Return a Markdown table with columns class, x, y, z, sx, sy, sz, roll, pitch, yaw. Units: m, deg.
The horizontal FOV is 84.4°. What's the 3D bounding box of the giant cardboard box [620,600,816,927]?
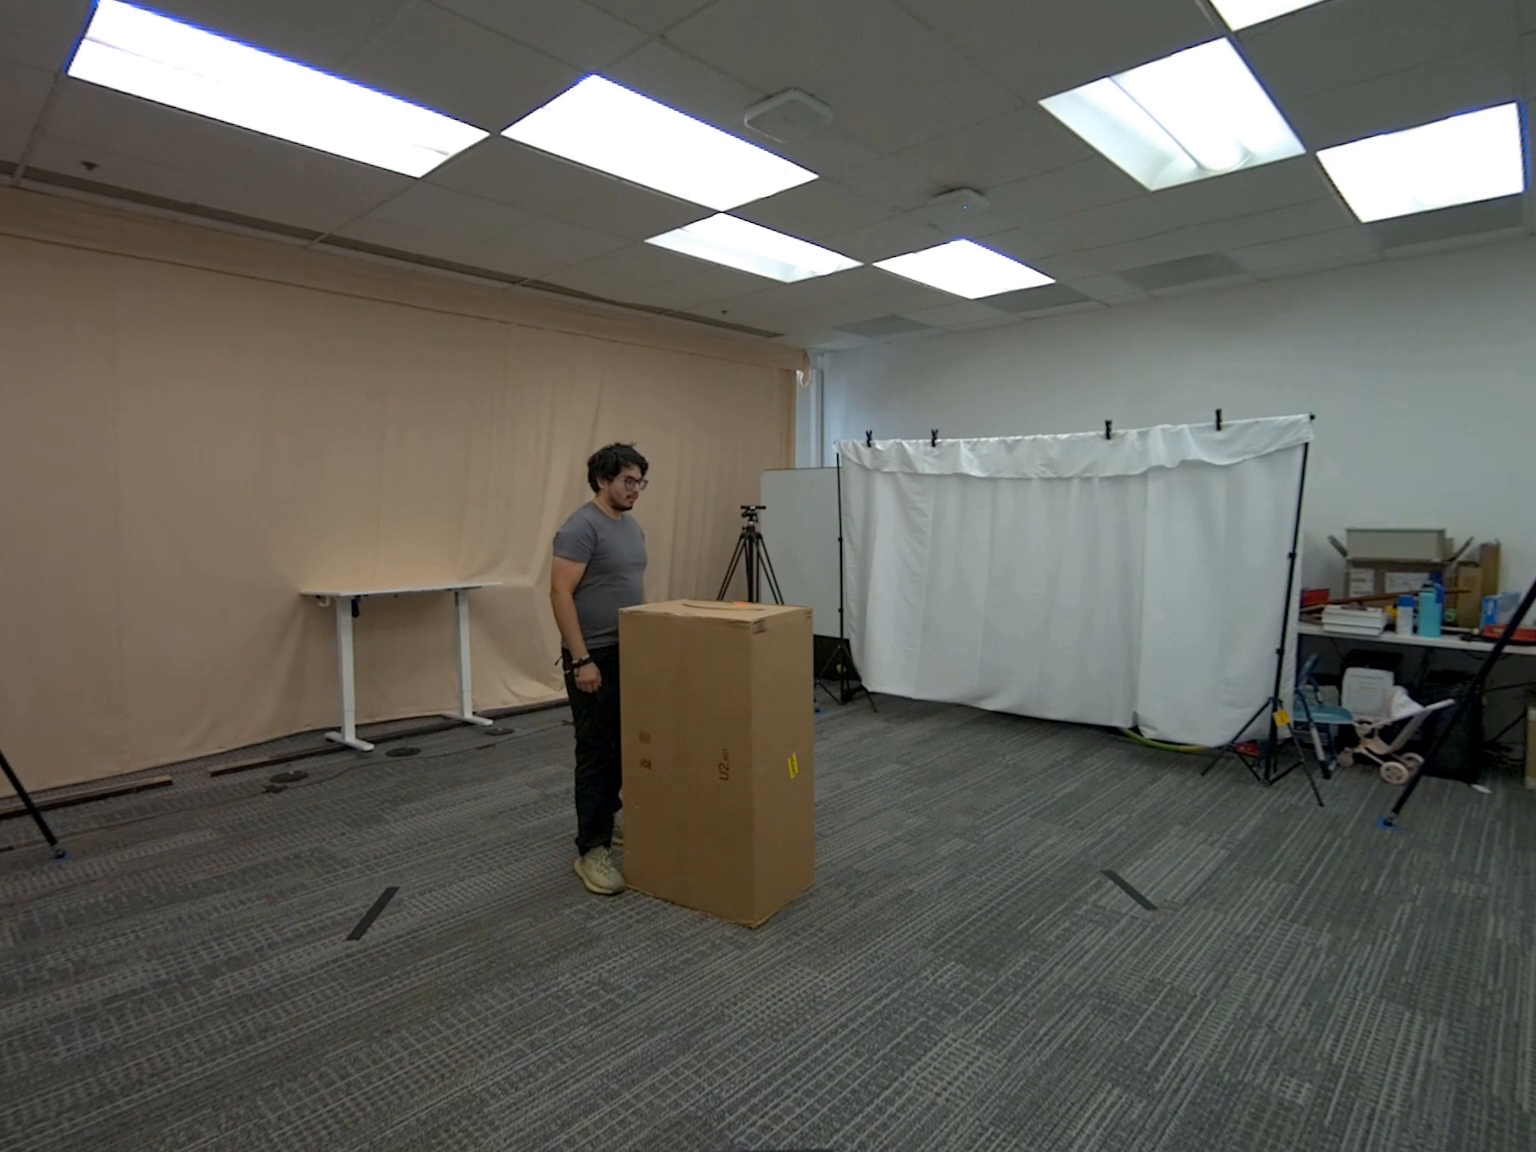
| class | x | y | z | sx | sy | sz | roll | pitch | yaw |
| --- | --- | --- | --- | --- | --- | --- | --- | --- | --- |
| giant cardboard box | -0.177 | 0.633 | 3.074 | 0.601 | 1.025 | 0.434 | 1 | 4 | 32 |
